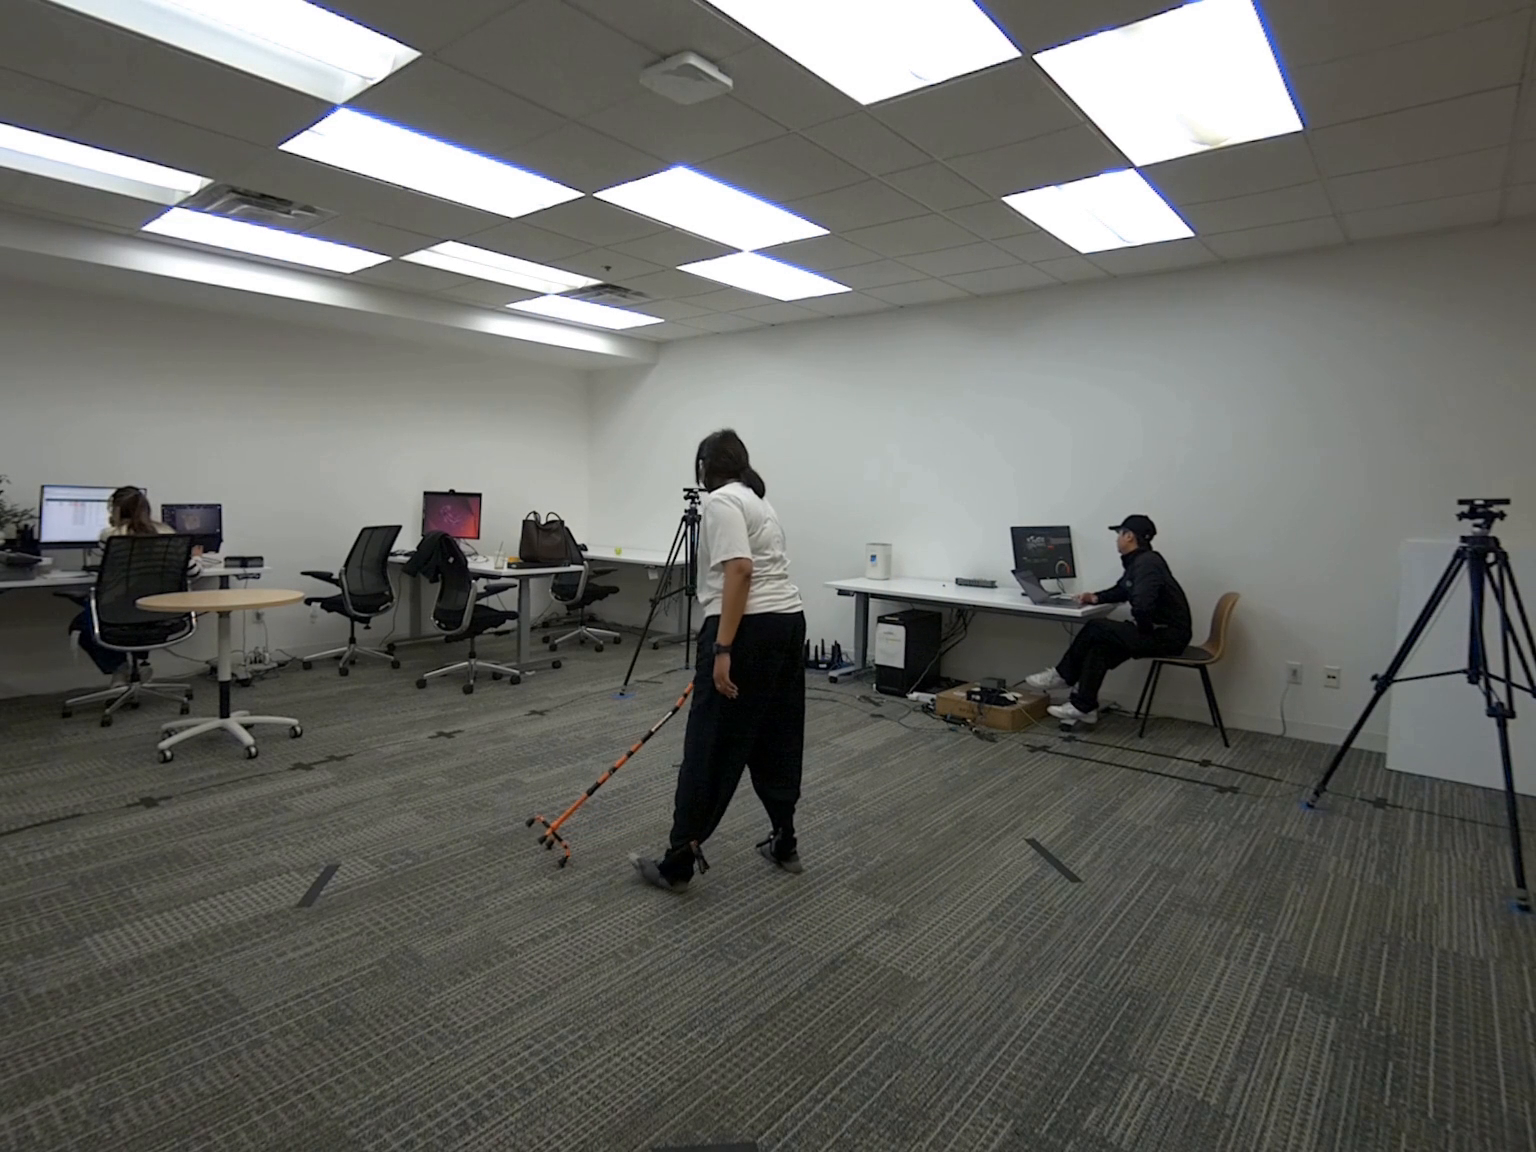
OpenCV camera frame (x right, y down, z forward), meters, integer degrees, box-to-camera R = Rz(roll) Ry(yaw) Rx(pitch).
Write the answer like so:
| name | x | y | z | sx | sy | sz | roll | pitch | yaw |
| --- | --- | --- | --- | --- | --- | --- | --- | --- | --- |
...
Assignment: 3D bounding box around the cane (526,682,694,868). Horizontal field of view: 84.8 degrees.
| name | x | y | z | sx | sy | sz | roll | pitch | yaw |
| --- | --- | --- | --- | --- | --- | --- | --- | --- | --- |
| cane | -0.544 | 0.701 | 3.308 | 0.906 | 0.148 | 0.212 | -44 | 21 | -19 |
